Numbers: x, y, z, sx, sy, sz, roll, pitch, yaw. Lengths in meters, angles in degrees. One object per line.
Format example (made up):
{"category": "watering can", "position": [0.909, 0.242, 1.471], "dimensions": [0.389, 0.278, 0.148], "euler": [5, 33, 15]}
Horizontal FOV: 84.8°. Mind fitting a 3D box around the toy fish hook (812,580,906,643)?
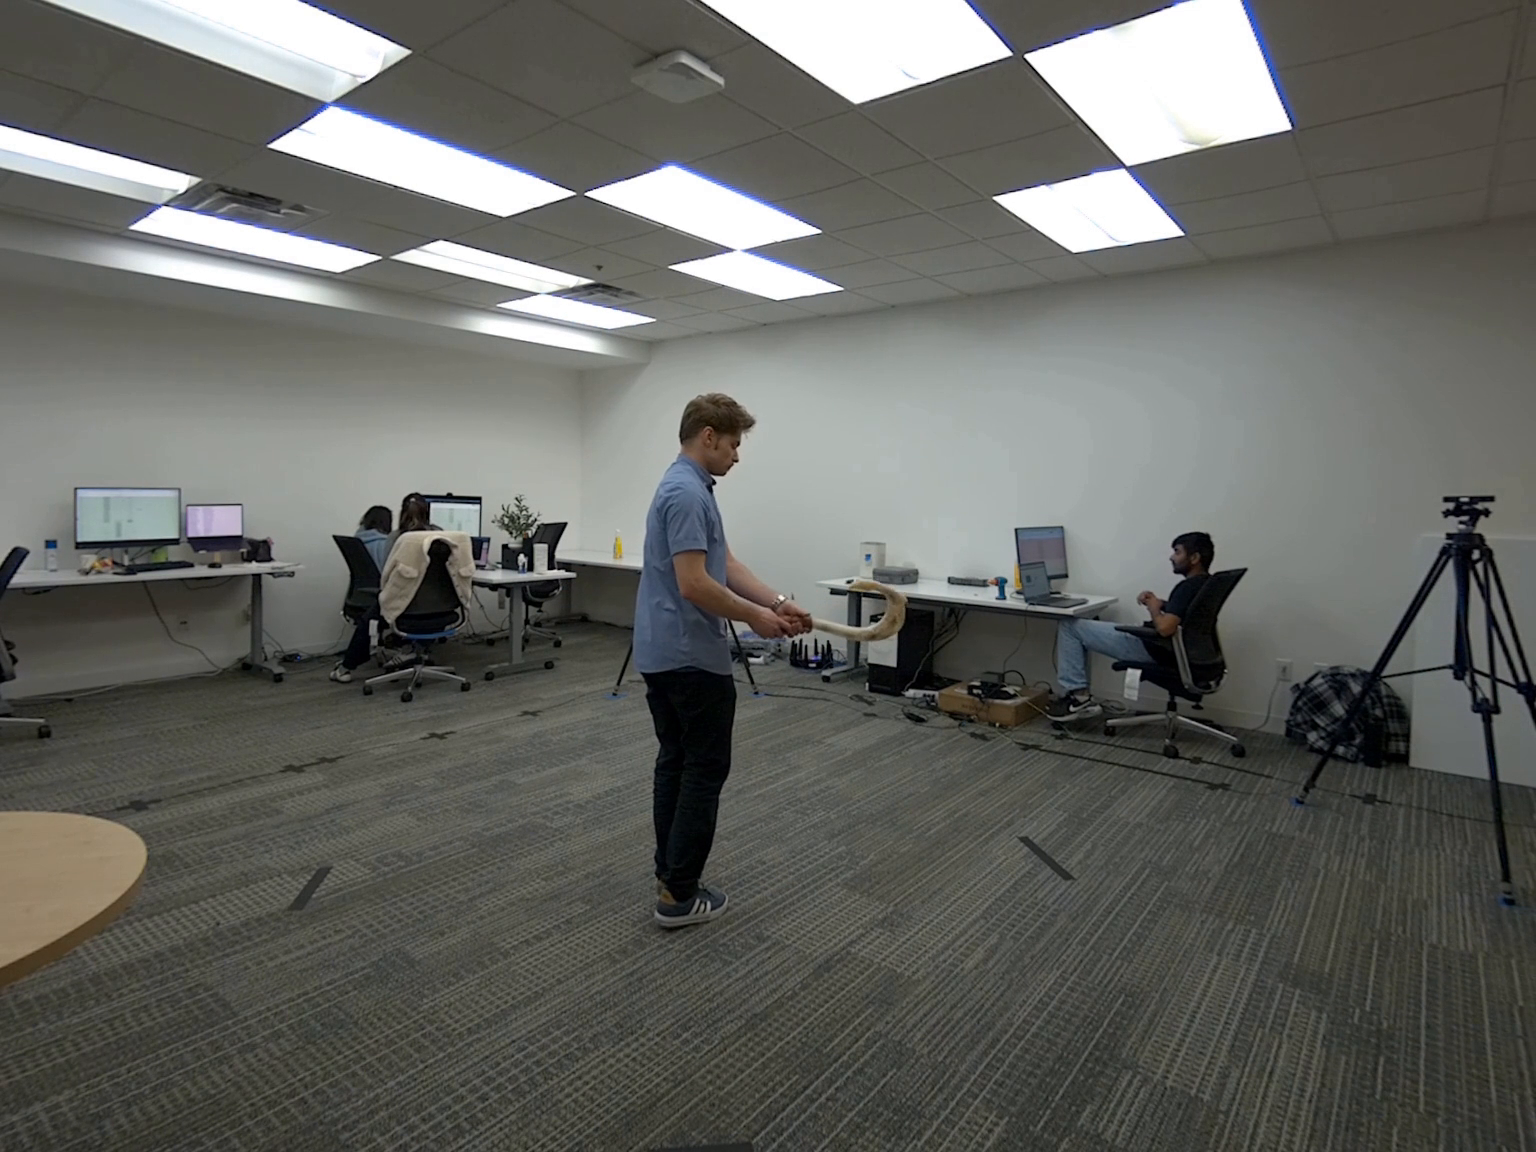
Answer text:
{"category": "toy fish hook", "position": [0.187, 0.116, 2.787], "dimensions": [0.507, 0.221, 0.049], "euler": [0, 17, 0]}
